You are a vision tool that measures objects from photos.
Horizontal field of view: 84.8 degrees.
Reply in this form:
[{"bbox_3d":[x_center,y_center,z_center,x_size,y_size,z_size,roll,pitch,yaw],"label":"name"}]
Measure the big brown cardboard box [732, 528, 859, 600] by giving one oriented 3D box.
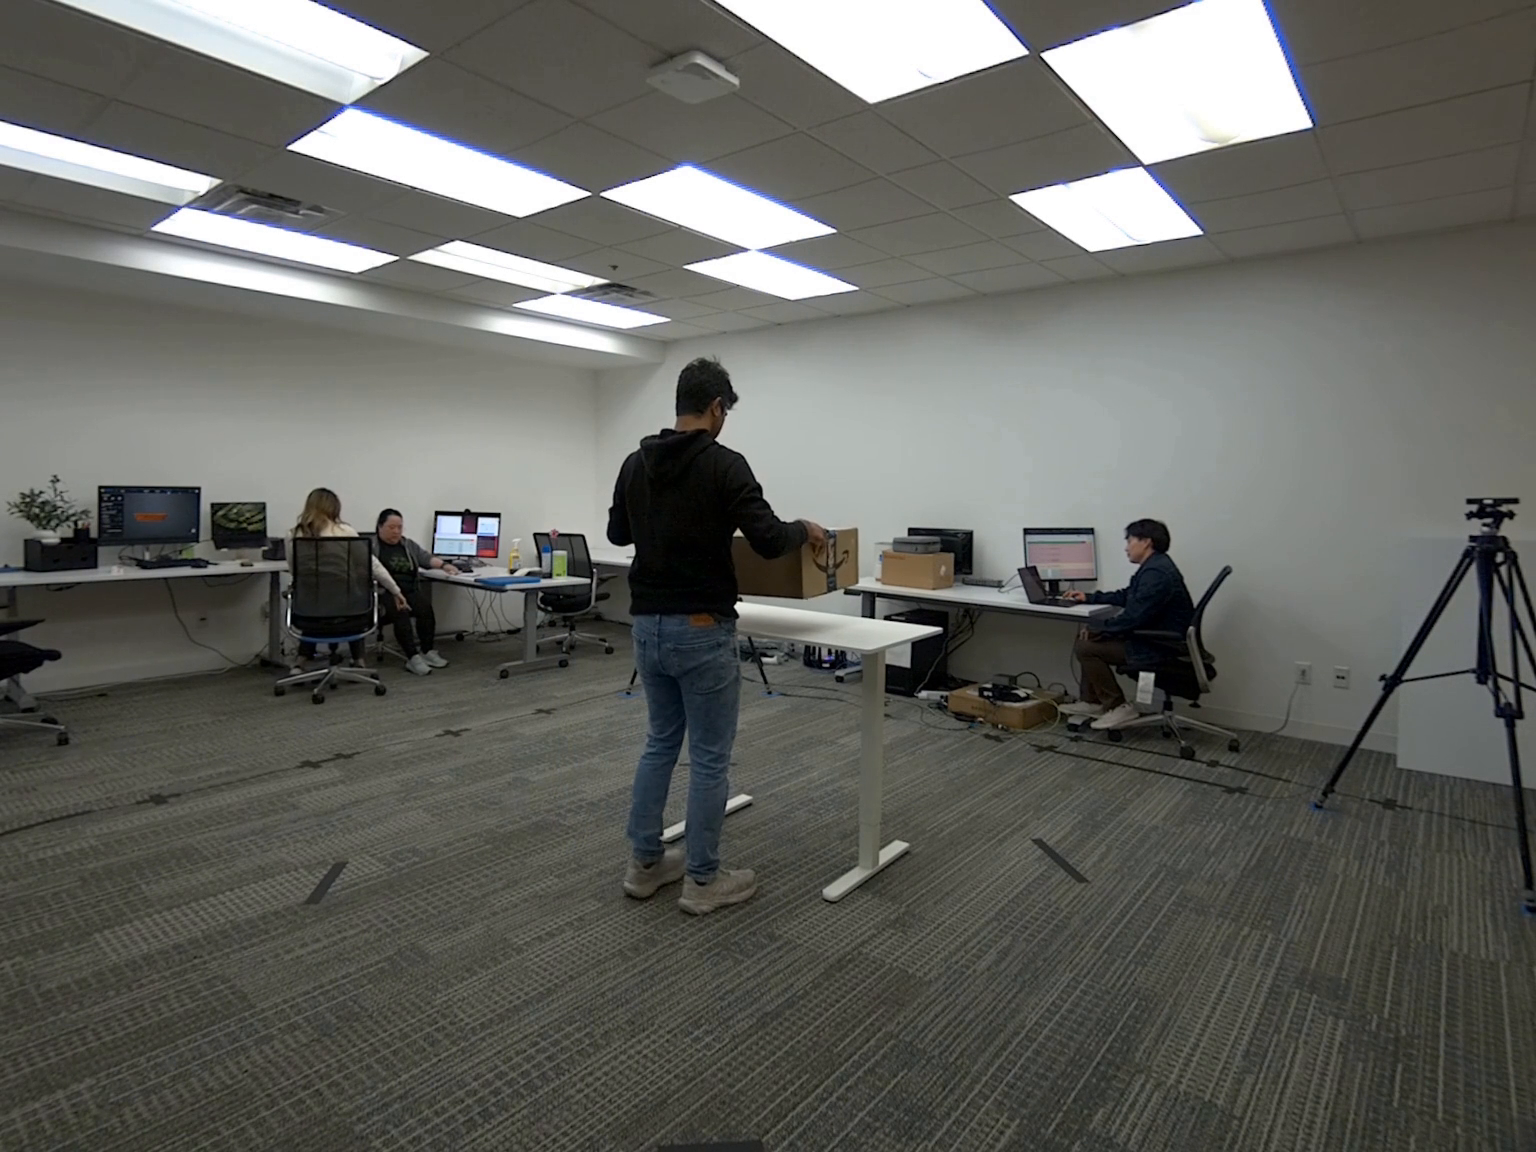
[{"bbox_3d":[-0.024,-0.060,3.190,0.607,0.232,0.407,2,8,35],"label":"big brown cardboard box"}]
